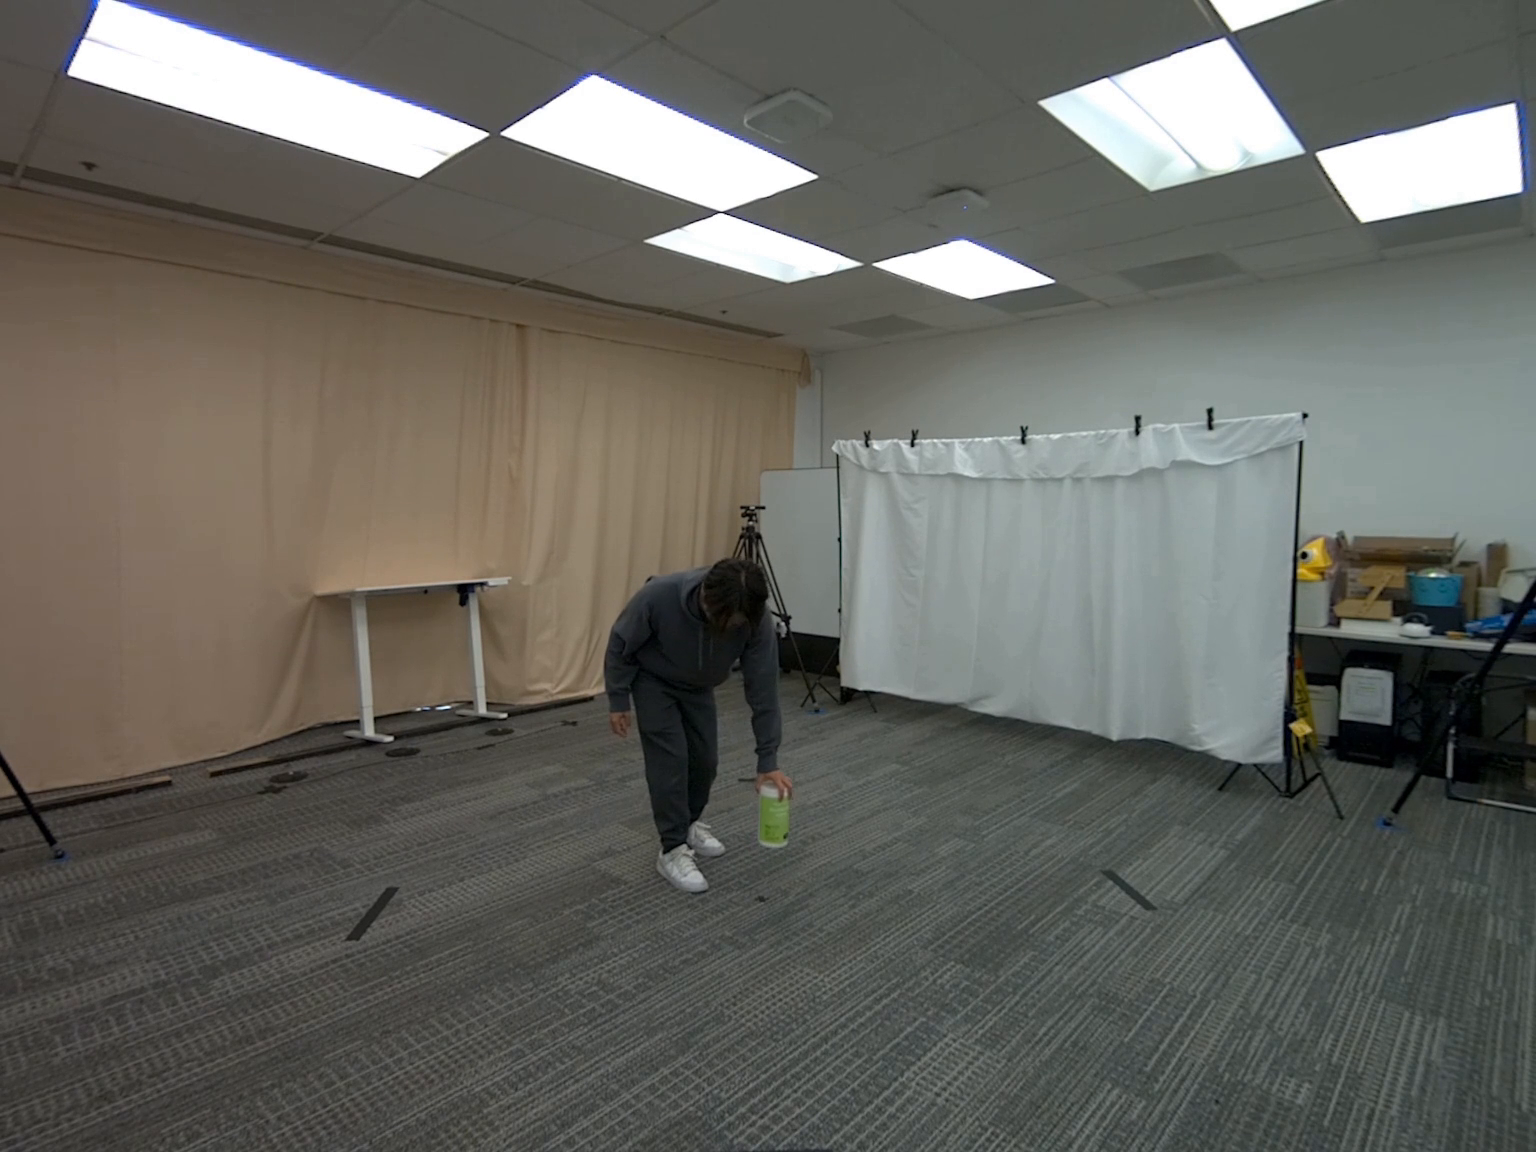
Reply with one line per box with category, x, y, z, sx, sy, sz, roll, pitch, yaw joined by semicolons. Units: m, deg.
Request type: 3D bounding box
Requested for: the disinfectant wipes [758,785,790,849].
disinfectant wipes;0.020;0.845;2.991;0.118;0.216;0.118;-1;6;-2
